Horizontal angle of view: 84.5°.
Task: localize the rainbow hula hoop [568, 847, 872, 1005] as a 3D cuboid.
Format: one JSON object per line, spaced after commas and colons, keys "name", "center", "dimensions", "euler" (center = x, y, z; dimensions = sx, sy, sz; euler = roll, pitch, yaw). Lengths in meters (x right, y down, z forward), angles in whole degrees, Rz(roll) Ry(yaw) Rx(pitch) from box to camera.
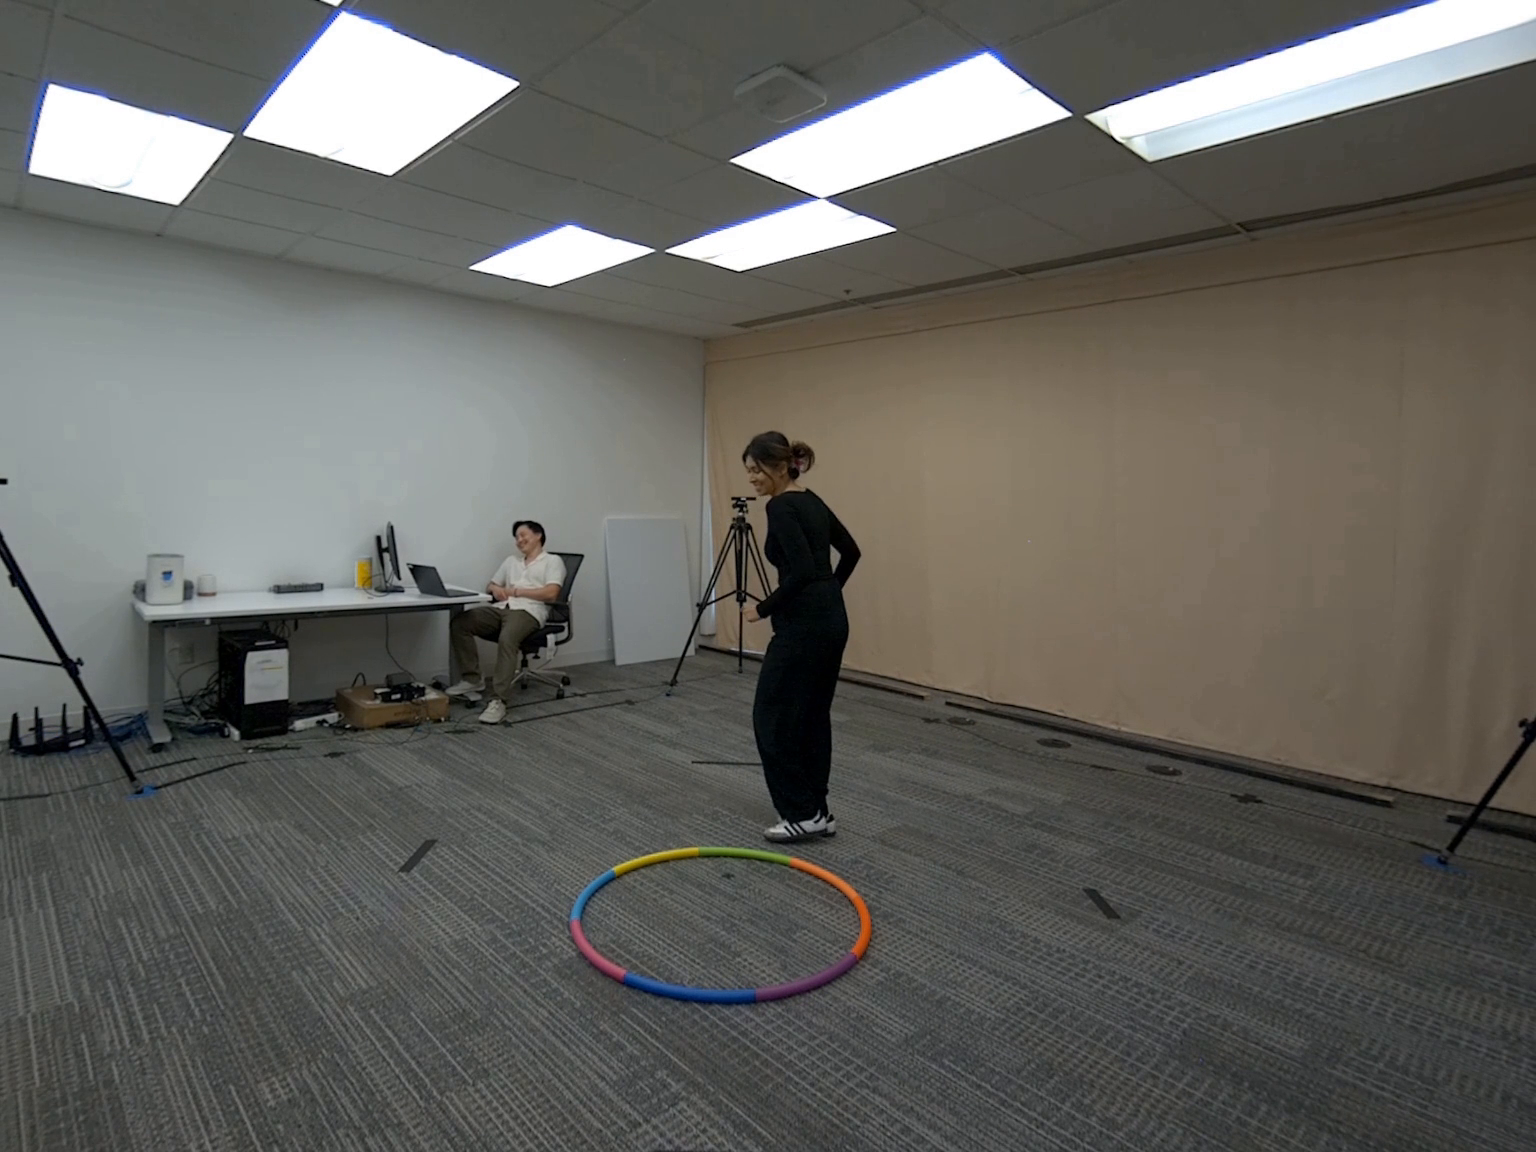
{"name": "rainbow hula hoop", "center": [-0.162, 1.103, 2.799], "dimensions": [0.978, 0.035, 0.982], "euler": [1, 5, -1]}
